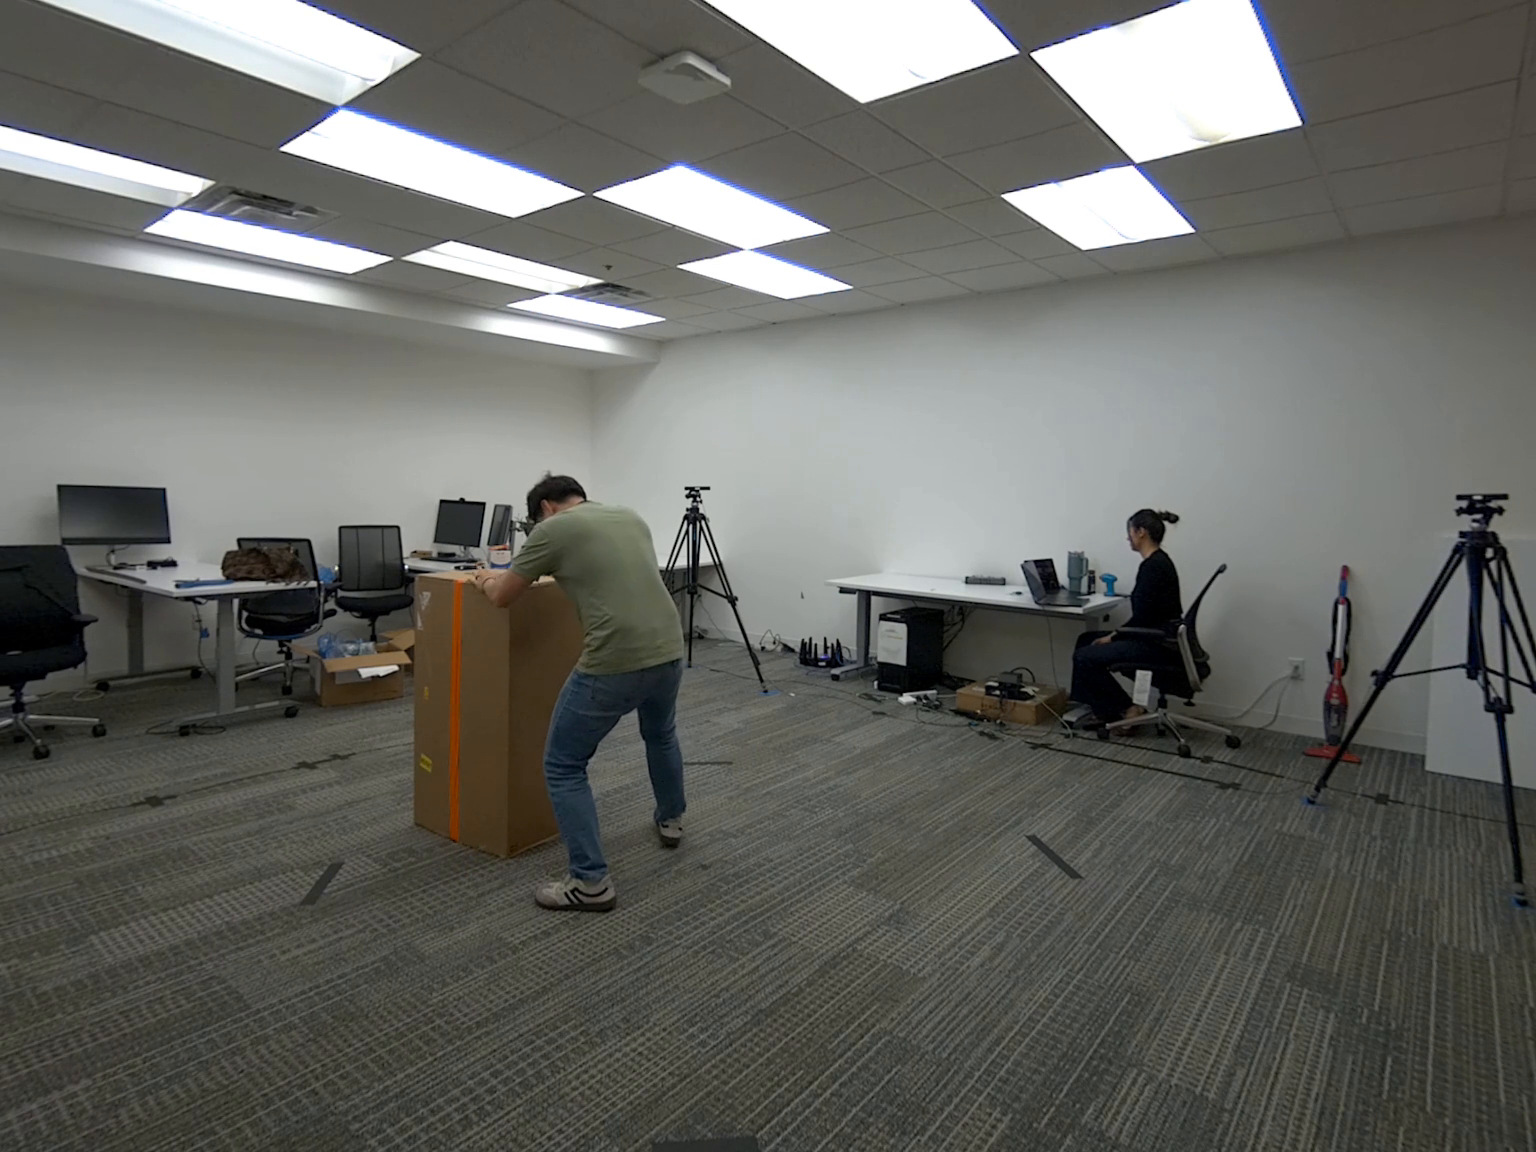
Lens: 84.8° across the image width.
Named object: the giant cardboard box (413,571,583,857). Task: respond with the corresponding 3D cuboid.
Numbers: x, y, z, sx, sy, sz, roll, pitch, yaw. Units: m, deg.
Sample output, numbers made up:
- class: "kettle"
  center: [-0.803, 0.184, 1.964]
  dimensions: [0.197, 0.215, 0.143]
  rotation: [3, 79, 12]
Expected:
- class: "giant cardboard box"
  center: [-1.109, 0.514, 3.464]
  dimensions: [0.596, 1.023, 0.414]
  rotation: [3, 3, 34]
